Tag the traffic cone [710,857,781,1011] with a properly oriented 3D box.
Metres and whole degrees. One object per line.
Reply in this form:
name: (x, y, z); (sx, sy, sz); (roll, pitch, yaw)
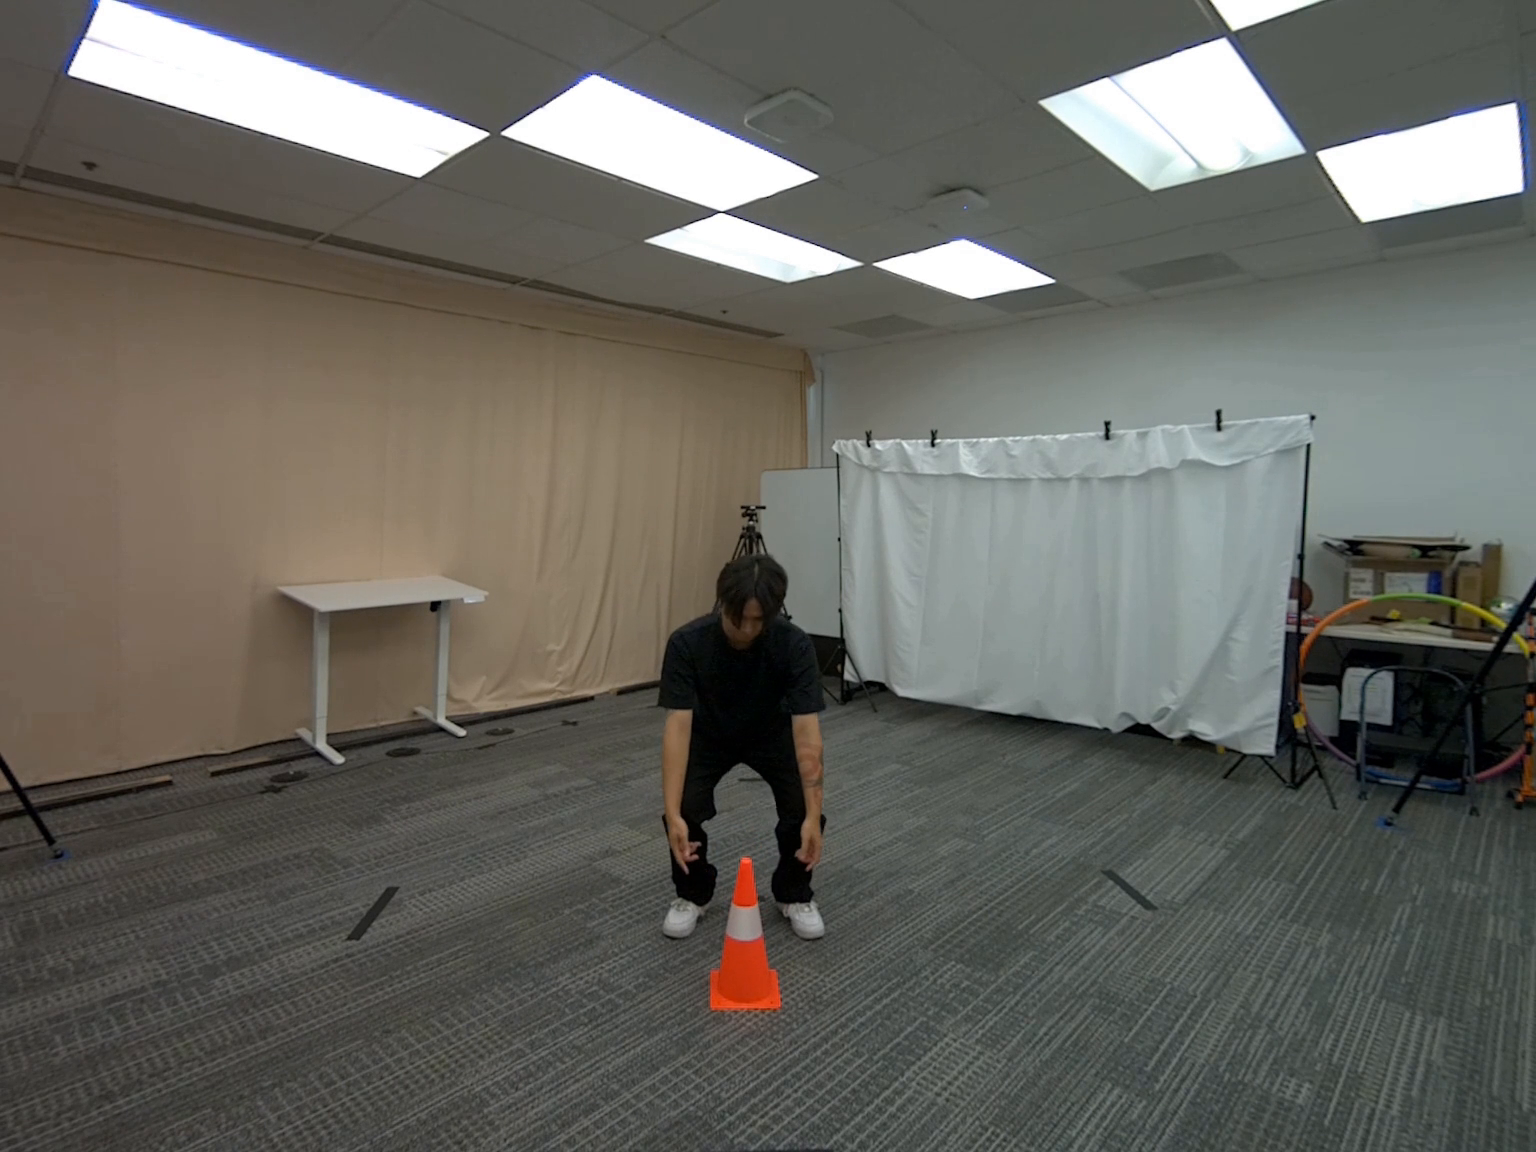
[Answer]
traffic cone: (-0.071, 1.005, 2.414); (0.204, 0.383, 0.204); (-1, 2, -3)
